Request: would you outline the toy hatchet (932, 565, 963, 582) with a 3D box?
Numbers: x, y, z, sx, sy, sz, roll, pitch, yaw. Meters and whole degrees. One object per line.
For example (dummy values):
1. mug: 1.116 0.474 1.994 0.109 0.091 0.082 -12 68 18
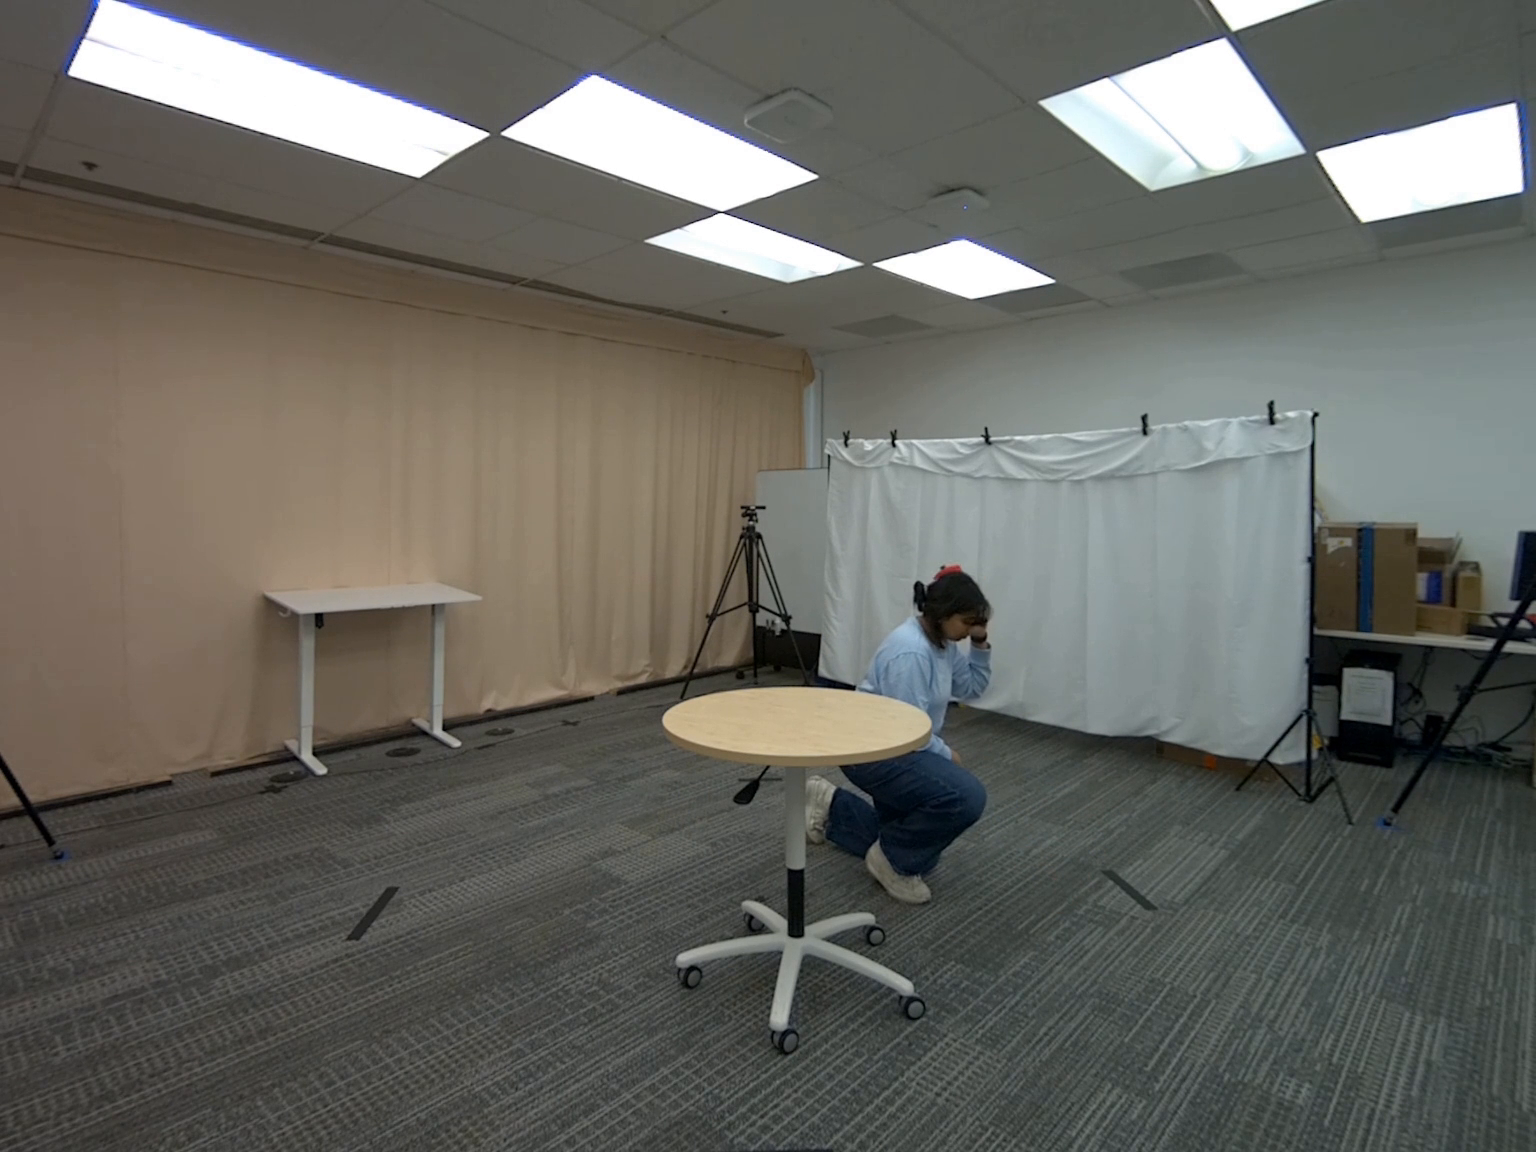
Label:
1. toy hatchet: 0.782 0.062 3.191 0.029 0.131 0.276 -22 62 -42
